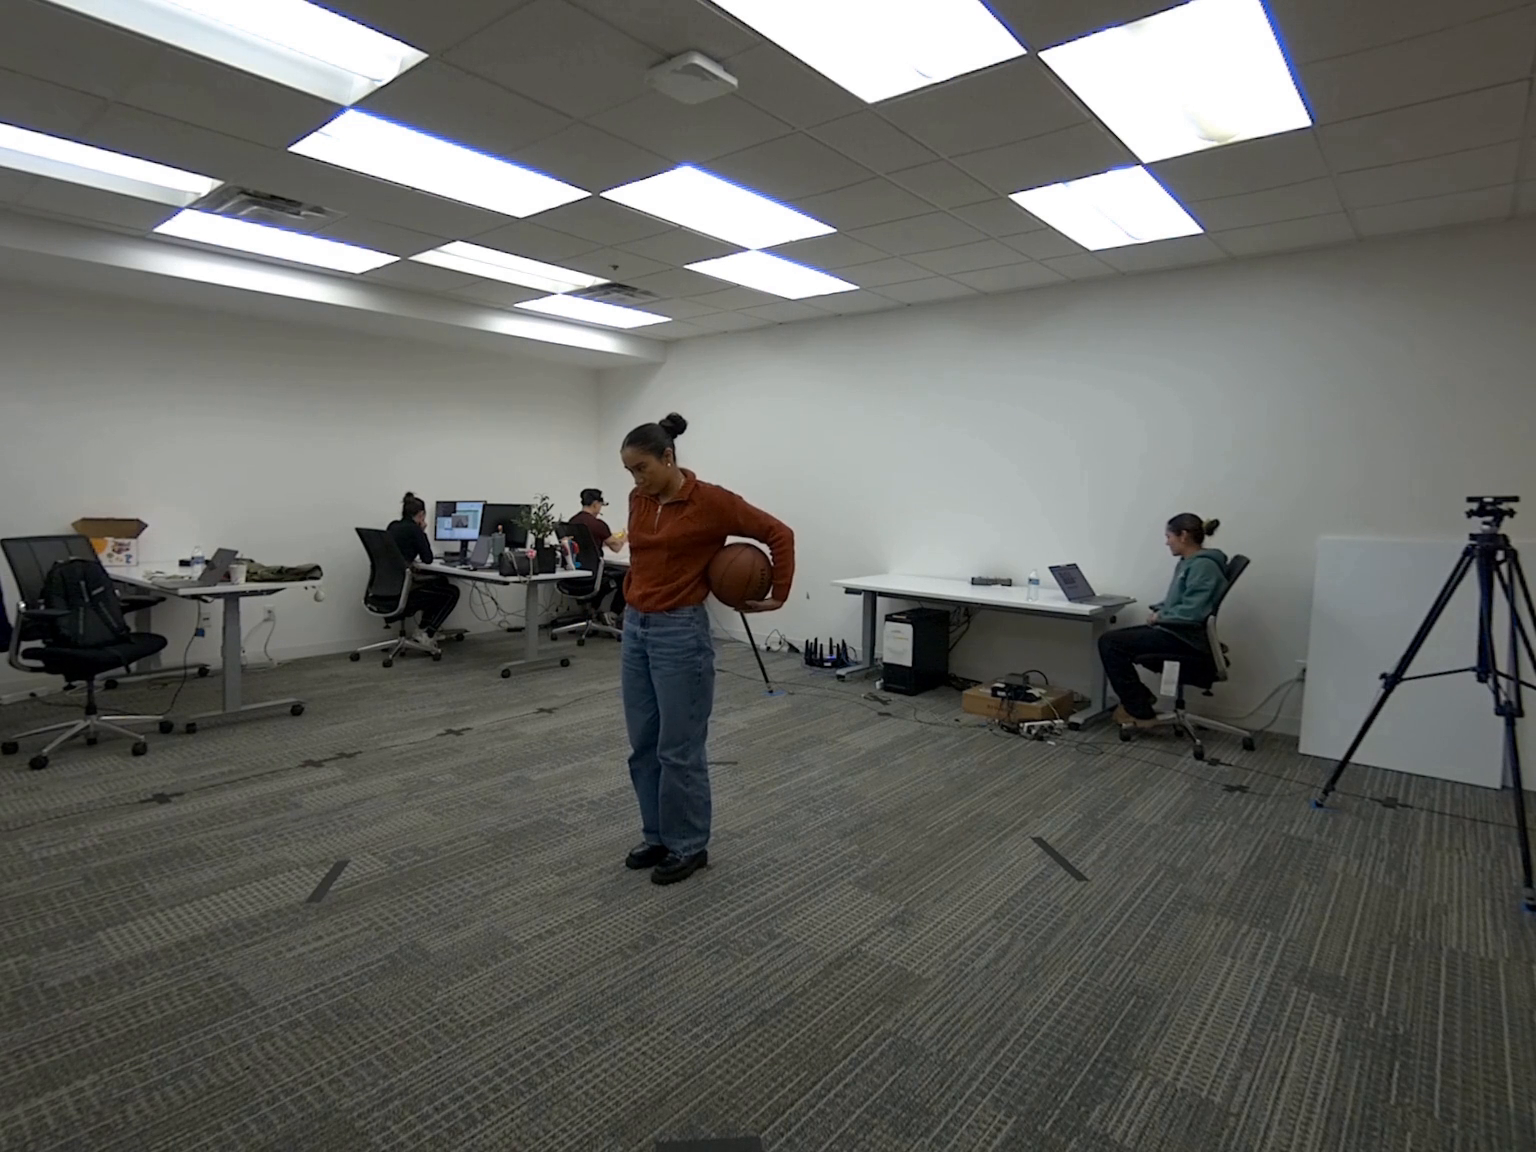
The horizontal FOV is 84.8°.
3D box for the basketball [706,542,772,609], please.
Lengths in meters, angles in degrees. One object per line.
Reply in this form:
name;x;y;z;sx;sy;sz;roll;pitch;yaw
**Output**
basketball;-0.118;0.000;2.999;0.235;0.235;0.237;1;4;-2
